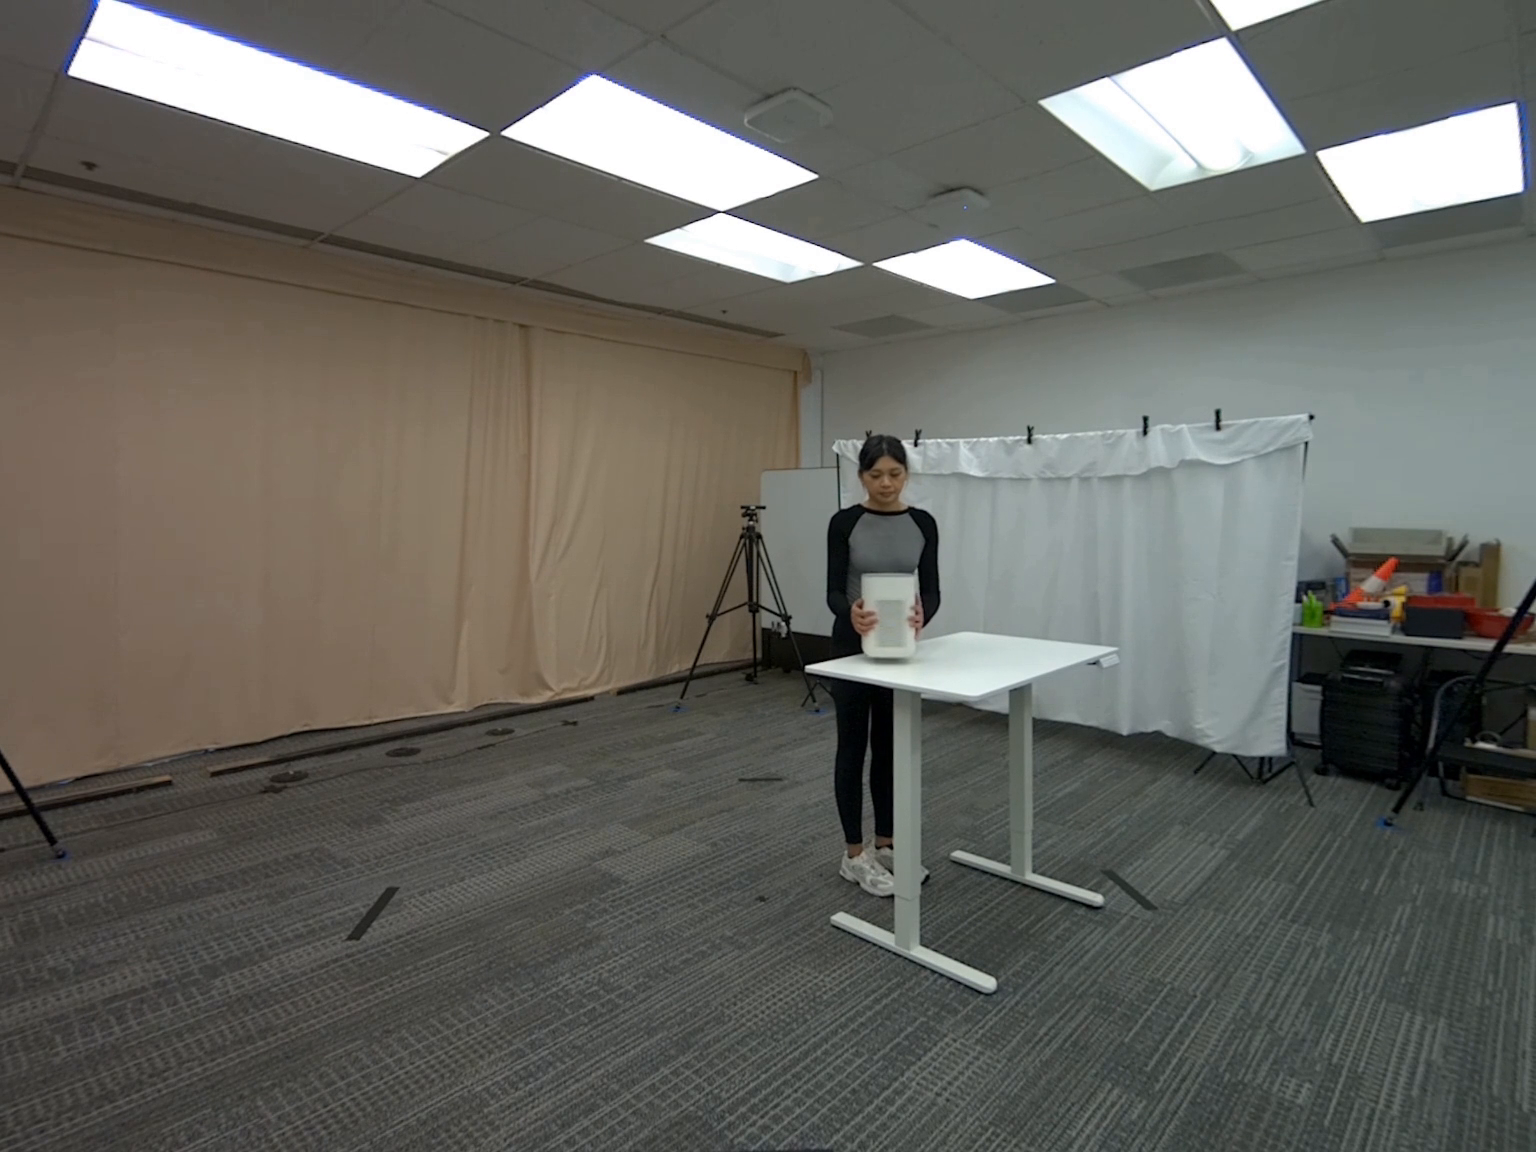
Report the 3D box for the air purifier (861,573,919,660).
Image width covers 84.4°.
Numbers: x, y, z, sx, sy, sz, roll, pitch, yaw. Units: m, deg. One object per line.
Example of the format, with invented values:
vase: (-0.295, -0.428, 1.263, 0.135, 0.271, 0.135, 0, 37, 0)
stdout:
air purifier: (0.398, 0.129, 2.762, 0.172, 0.265, 0.170, 0, 1, 3)
